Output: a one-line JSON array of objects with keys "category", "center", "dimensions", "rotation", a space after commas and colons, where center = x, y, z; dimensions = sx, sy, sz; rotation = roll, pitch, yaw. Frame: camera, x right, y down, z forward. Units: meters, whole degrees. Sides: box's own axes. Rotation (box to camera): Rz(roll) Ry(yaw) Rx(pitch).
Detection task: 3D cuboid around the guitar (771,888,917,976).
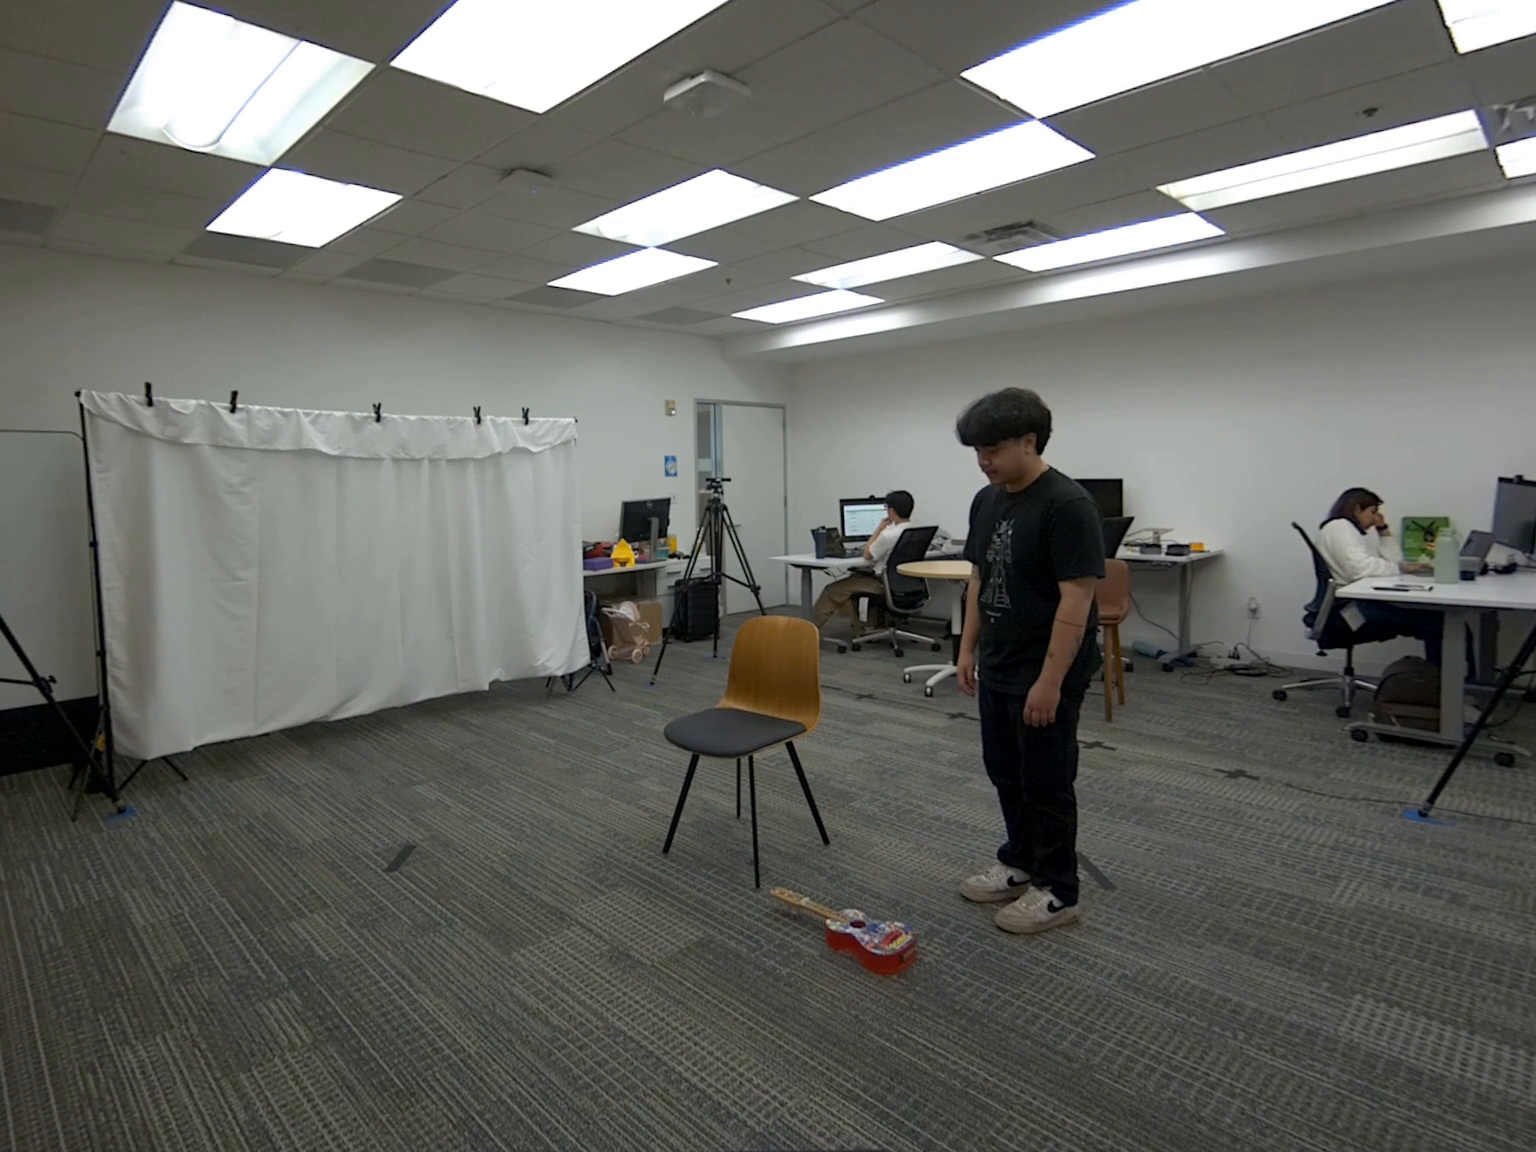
[{"category": "guitar", "center": [0.238, 1.063, 2.618], "dimensions": [0.188, 0.070, 0.513], "rotation": [-7, 10, -40]}]
